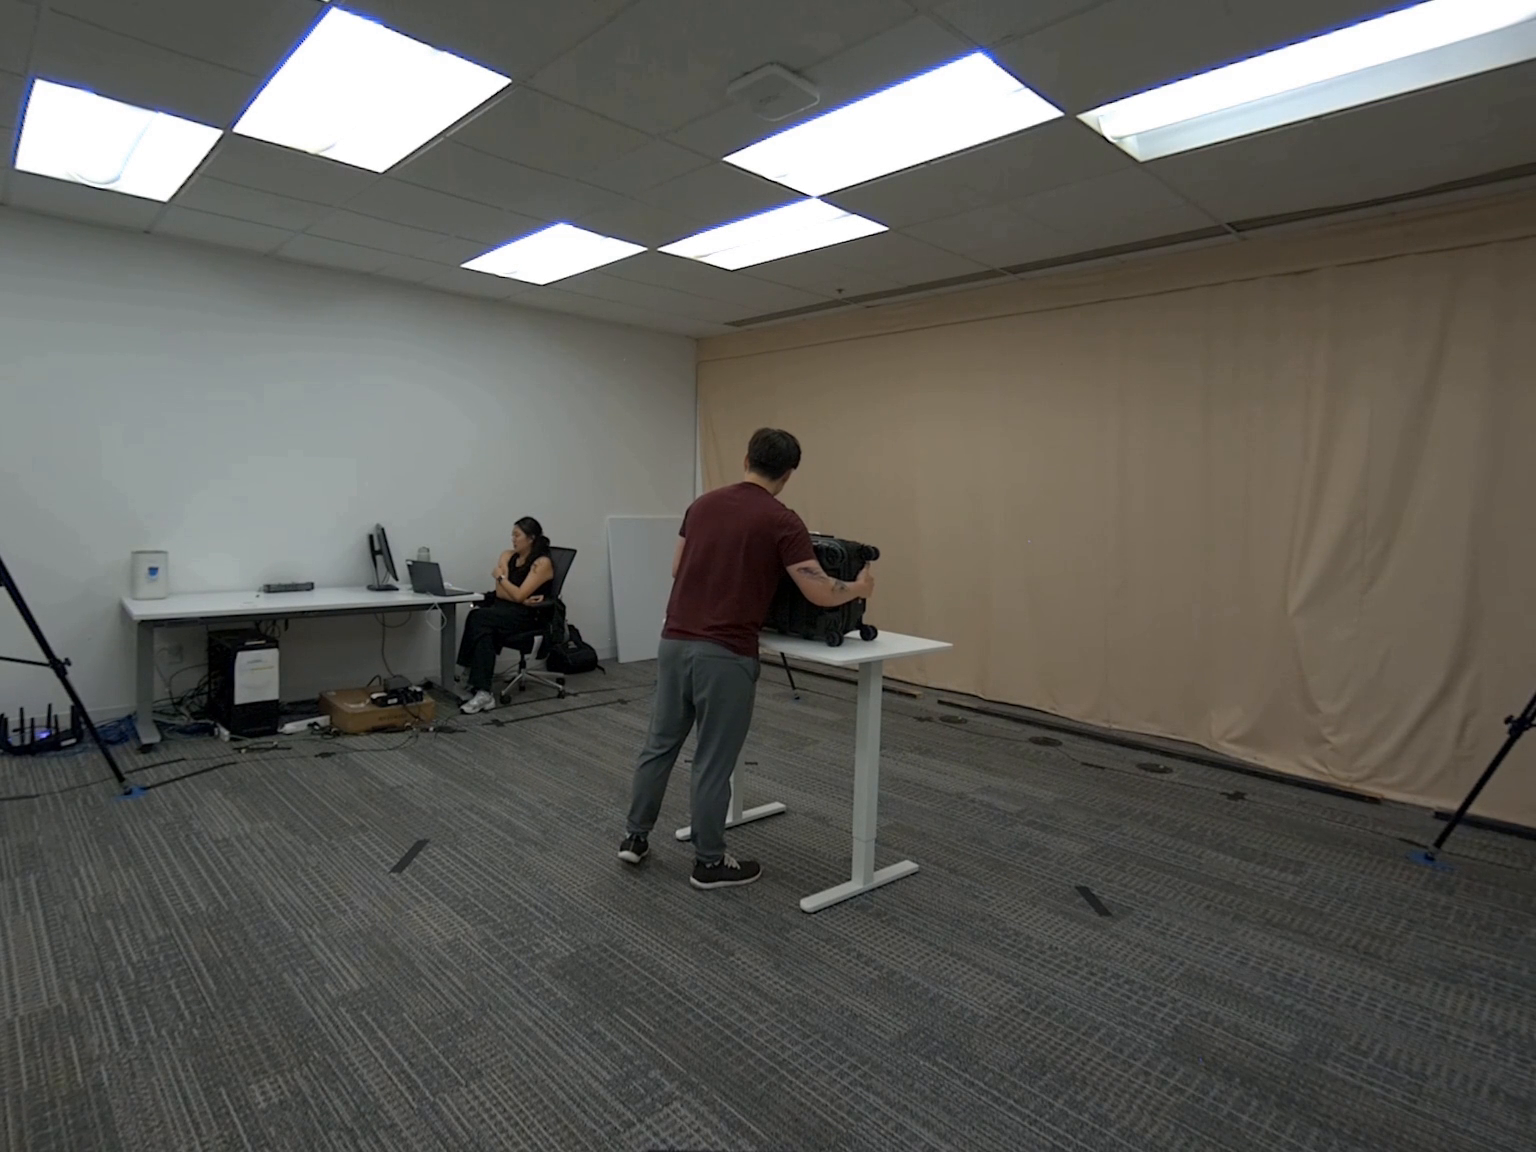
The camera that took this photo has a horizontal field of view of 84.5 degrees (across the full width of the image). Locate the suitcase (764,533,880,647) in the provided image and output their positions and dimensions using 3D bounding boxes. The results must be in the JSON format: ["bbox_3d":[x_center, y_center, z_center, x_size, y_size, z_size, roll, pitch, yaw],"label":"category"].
[{"bbox_3d":[-0.035,0.019,3.333,1.004,0.382,0.251,7,8,44],"label":"suitcase"}]
